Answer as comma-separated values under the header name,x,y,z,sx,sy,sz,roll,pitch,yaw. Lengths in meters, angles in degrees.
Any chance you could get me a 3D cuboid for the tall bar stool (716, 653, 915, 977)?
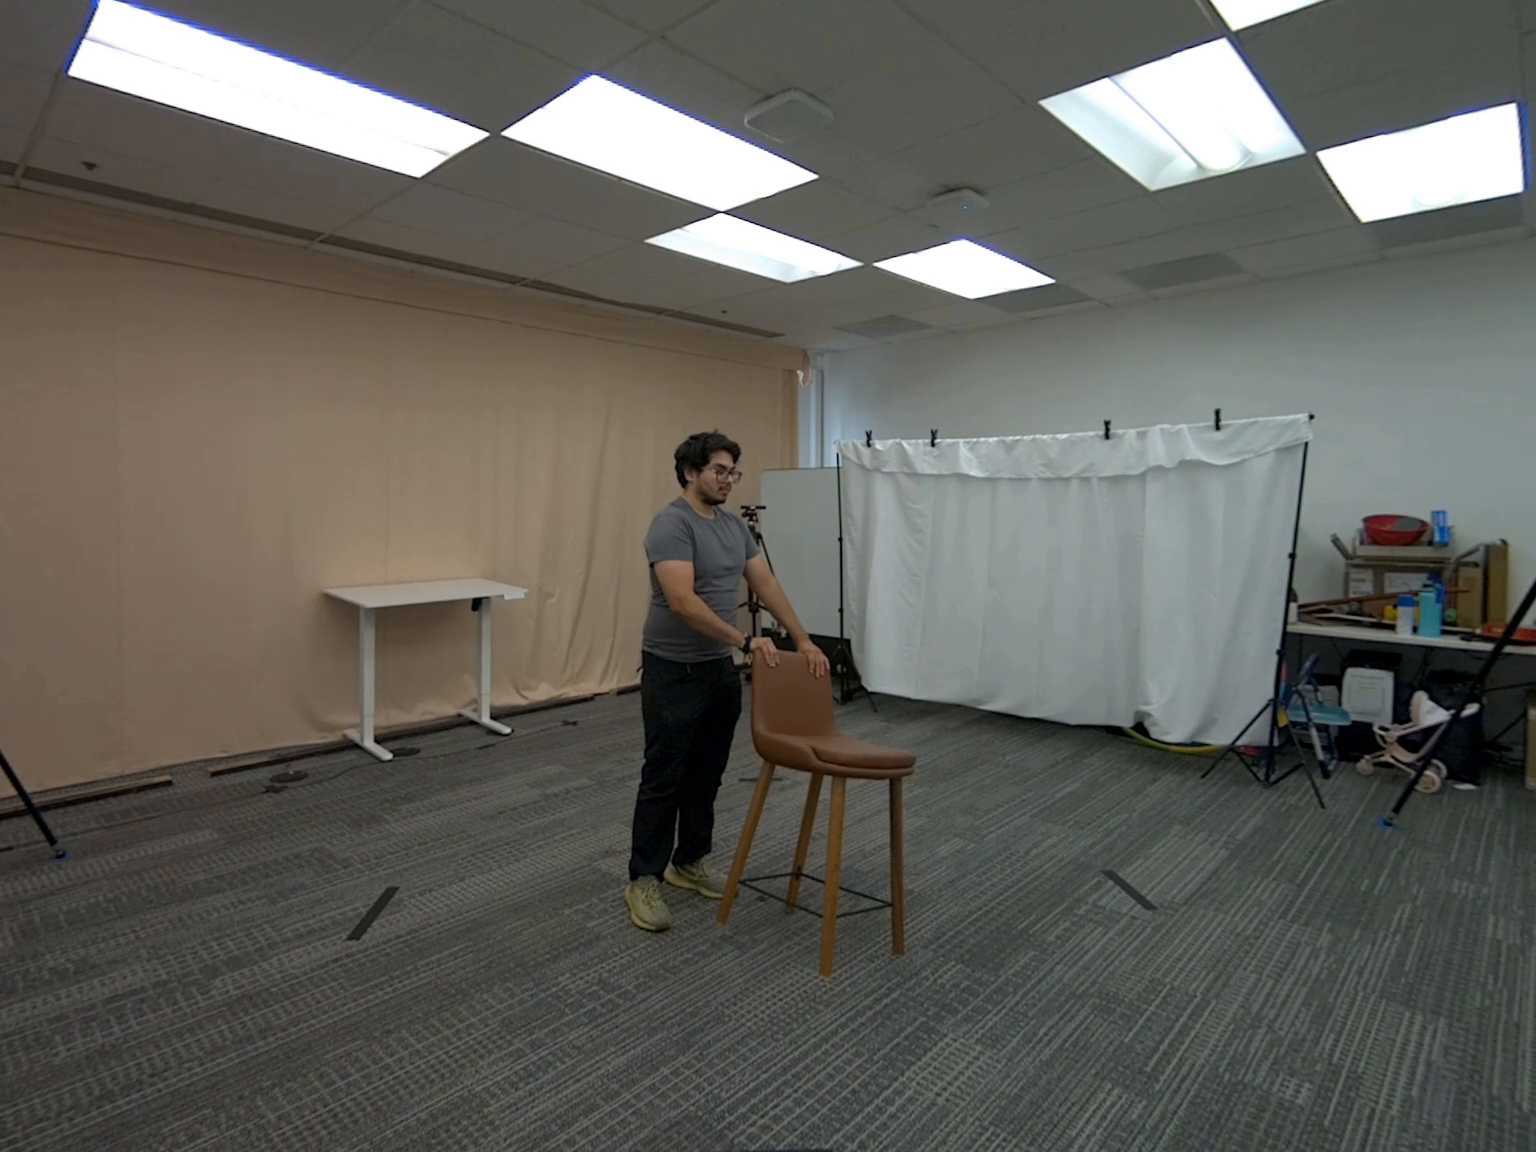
name,x,y,z,sx,sy,sz,roll,pitch,yaw
tall bar stool,0.178,0.703,2.679,0.482,0.893,0.440,-1,-10,43
